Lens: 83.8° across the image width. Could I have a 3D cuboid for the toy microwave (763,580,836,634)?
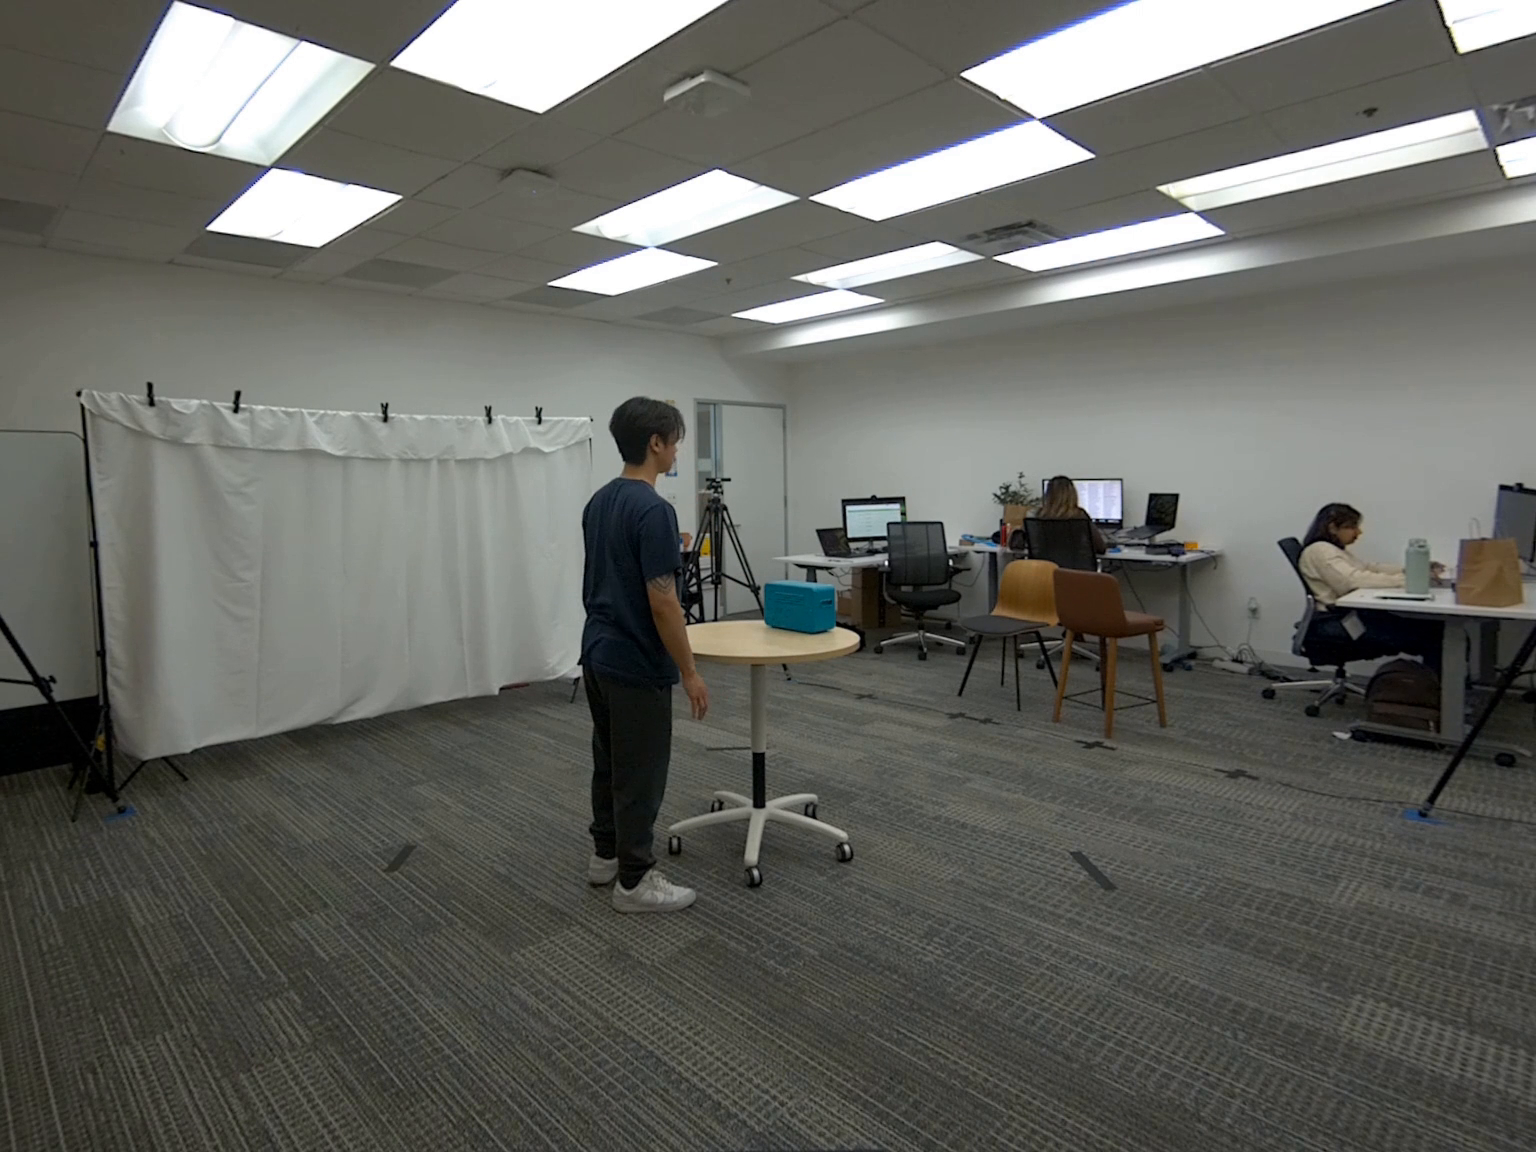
[{"bbox_3d":[0.131,0.119,3.389,0.148,0.183,0.295,-5,6,-42],"label":"toy microwave"}]
